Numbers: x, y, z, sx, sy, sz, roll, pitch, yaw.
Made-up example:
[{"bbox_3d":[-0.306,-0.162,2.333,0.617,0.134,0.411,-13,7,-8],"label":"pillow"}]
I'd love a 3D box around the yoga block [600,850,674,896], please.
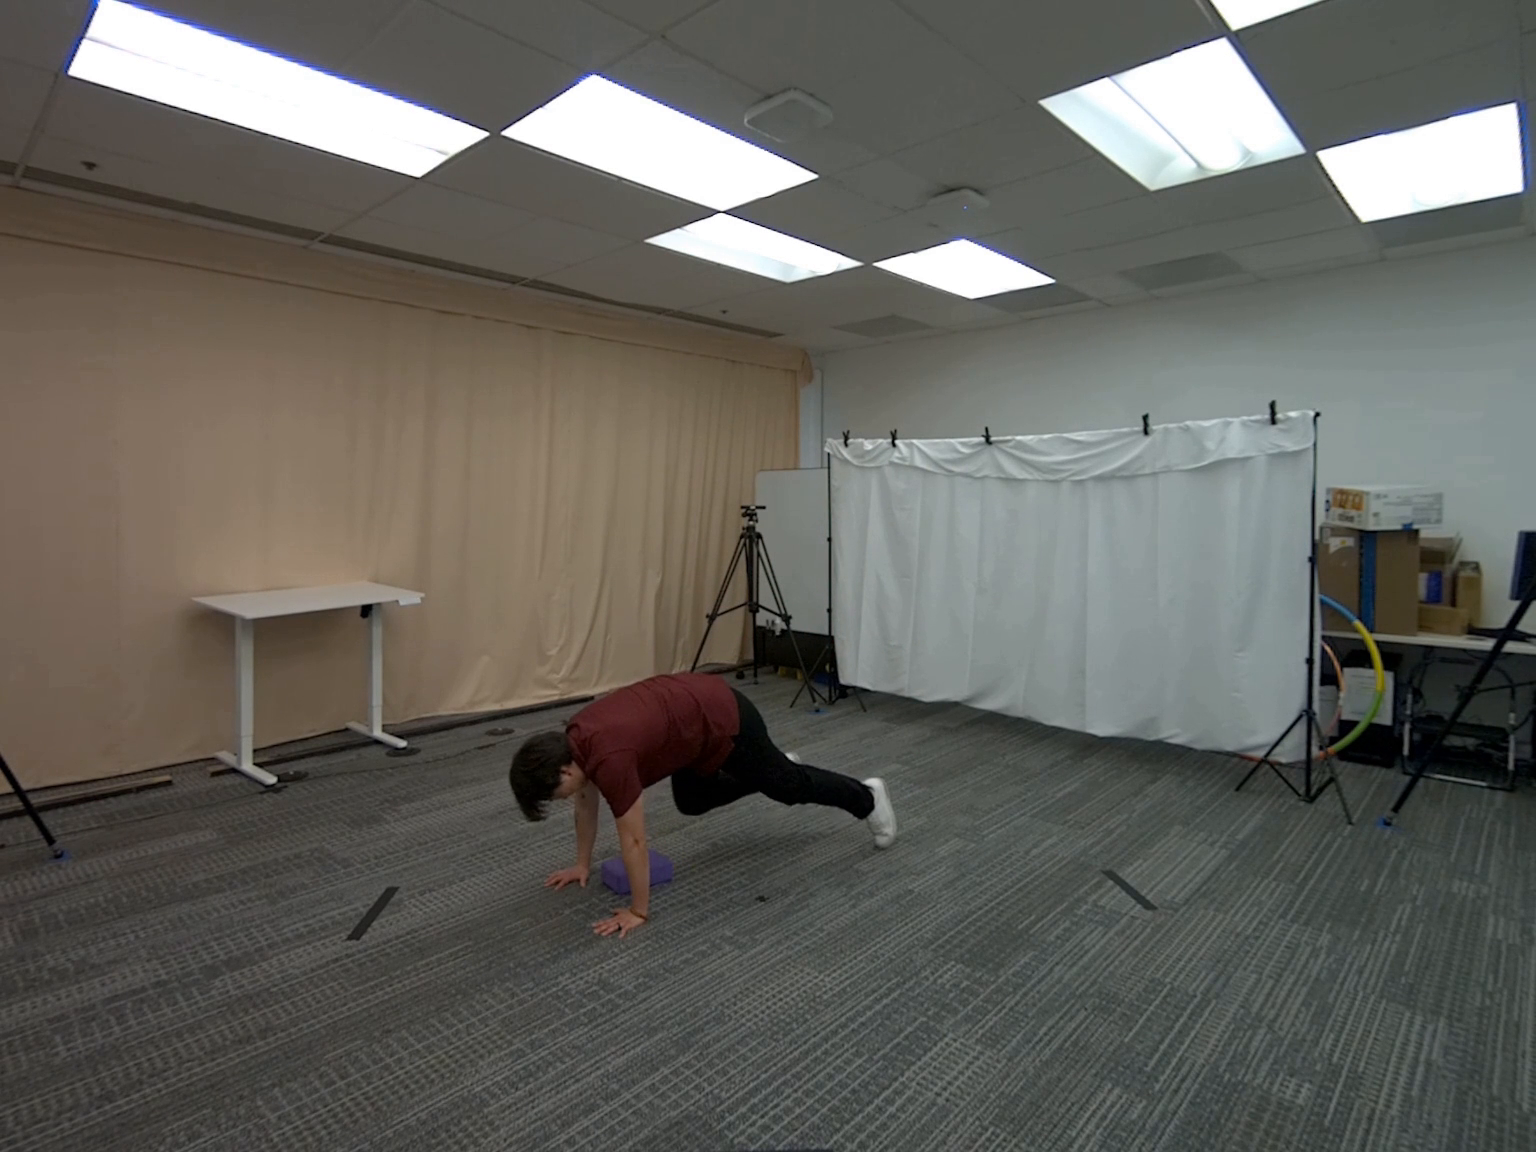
[{"bbox_3d":[-0.486,1.091,3.127,0.223,0.076,0.154,-5,7,-36],"label":"yoga block"}]
